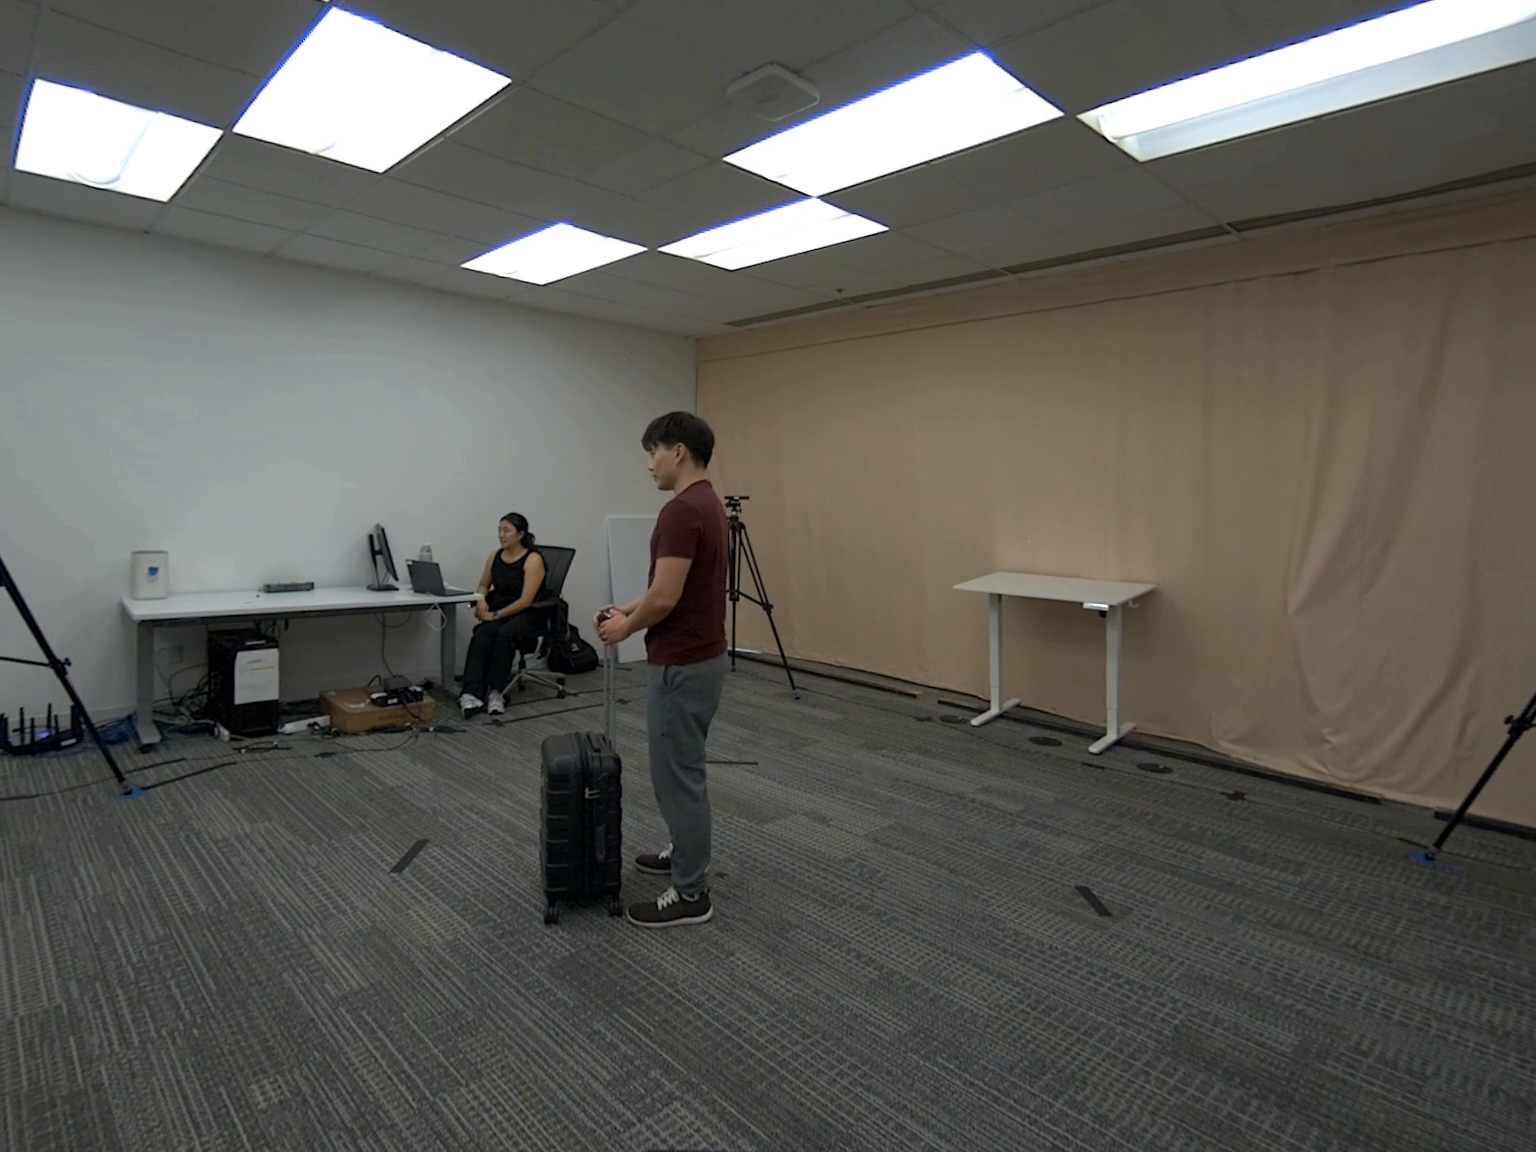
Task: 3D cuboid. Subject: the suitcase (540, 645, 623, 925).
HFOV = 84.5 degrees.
[{"bbox_3d":[-0.655,0.633,2.888,0.254,0.976,0.390,-2,4,-17],"label":"suitcase"}]
